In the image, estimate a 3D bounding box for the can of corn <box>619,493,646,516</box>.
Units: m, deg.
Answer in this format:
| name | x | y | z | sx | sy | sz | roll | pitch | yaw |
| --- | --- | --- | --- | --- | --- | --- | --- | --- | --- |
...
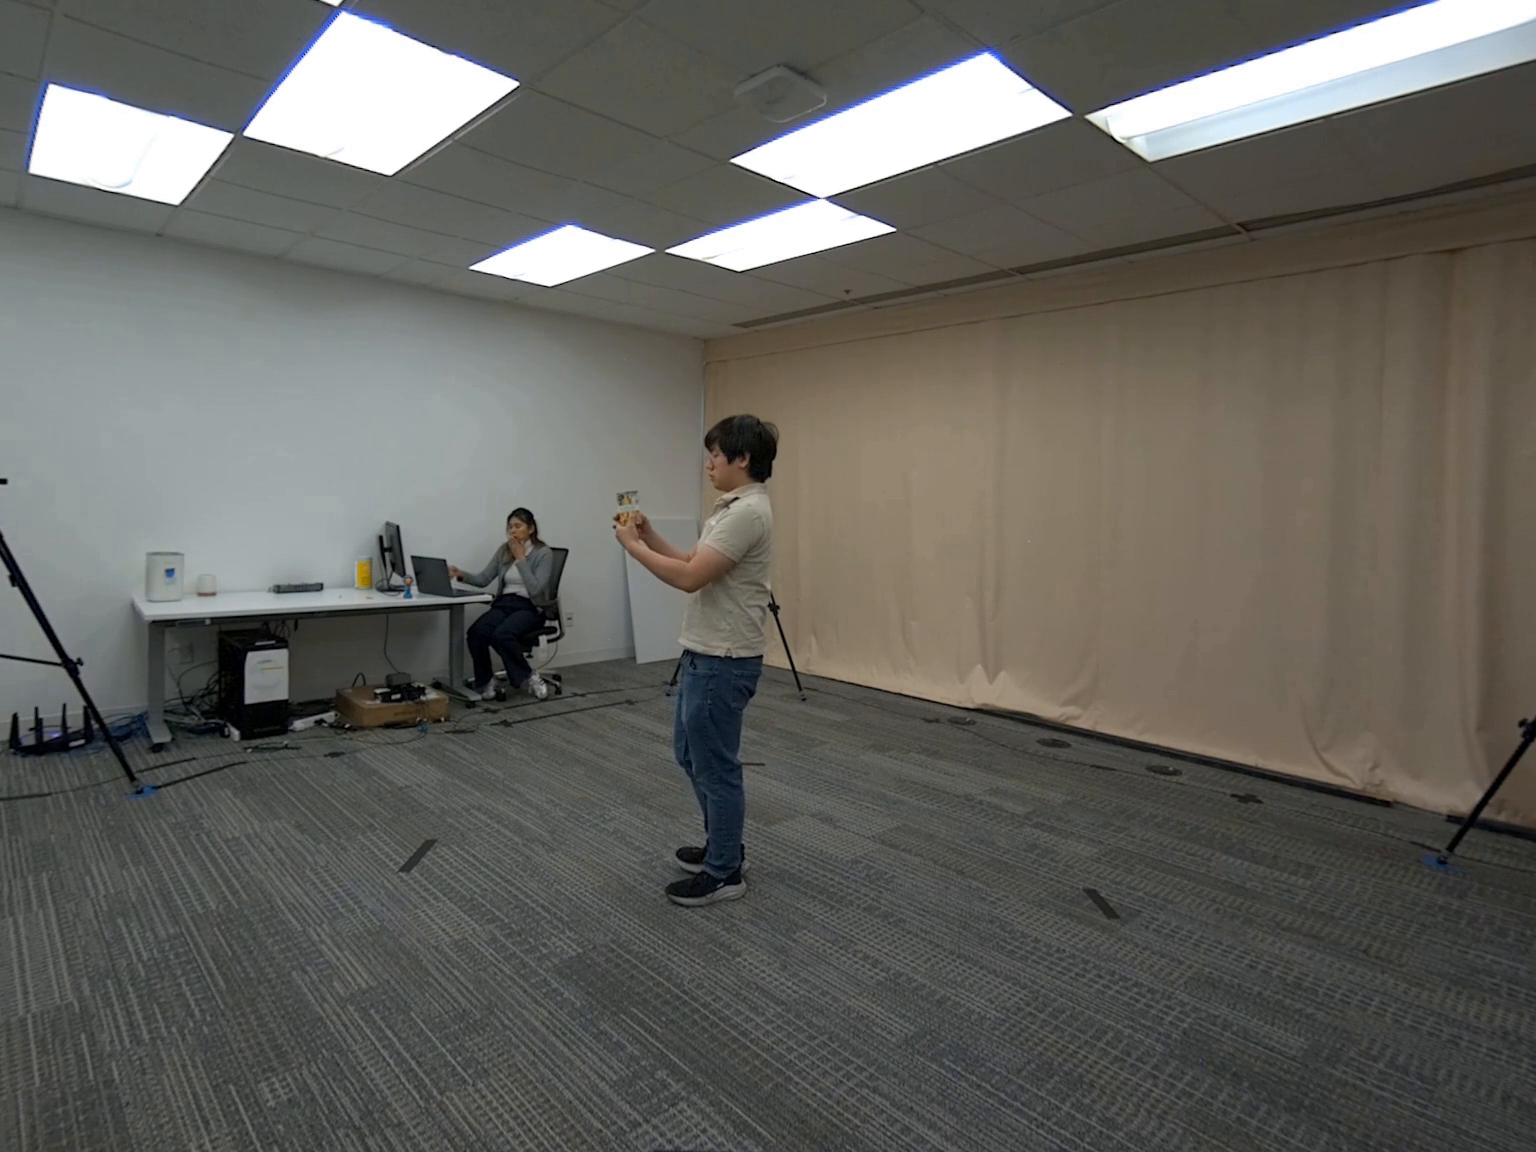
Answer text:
| name | x | y | z | sx | sy | sz | roll | pitch | yaw |
| --- | --- | --- | --- | --- | --- | --- | --- | --- | --- |
| can of corn | -0.460 | -0.224 | 2.876 | 0.074 | 0.111 | 0.074 | -4 | 2 | -1 |
